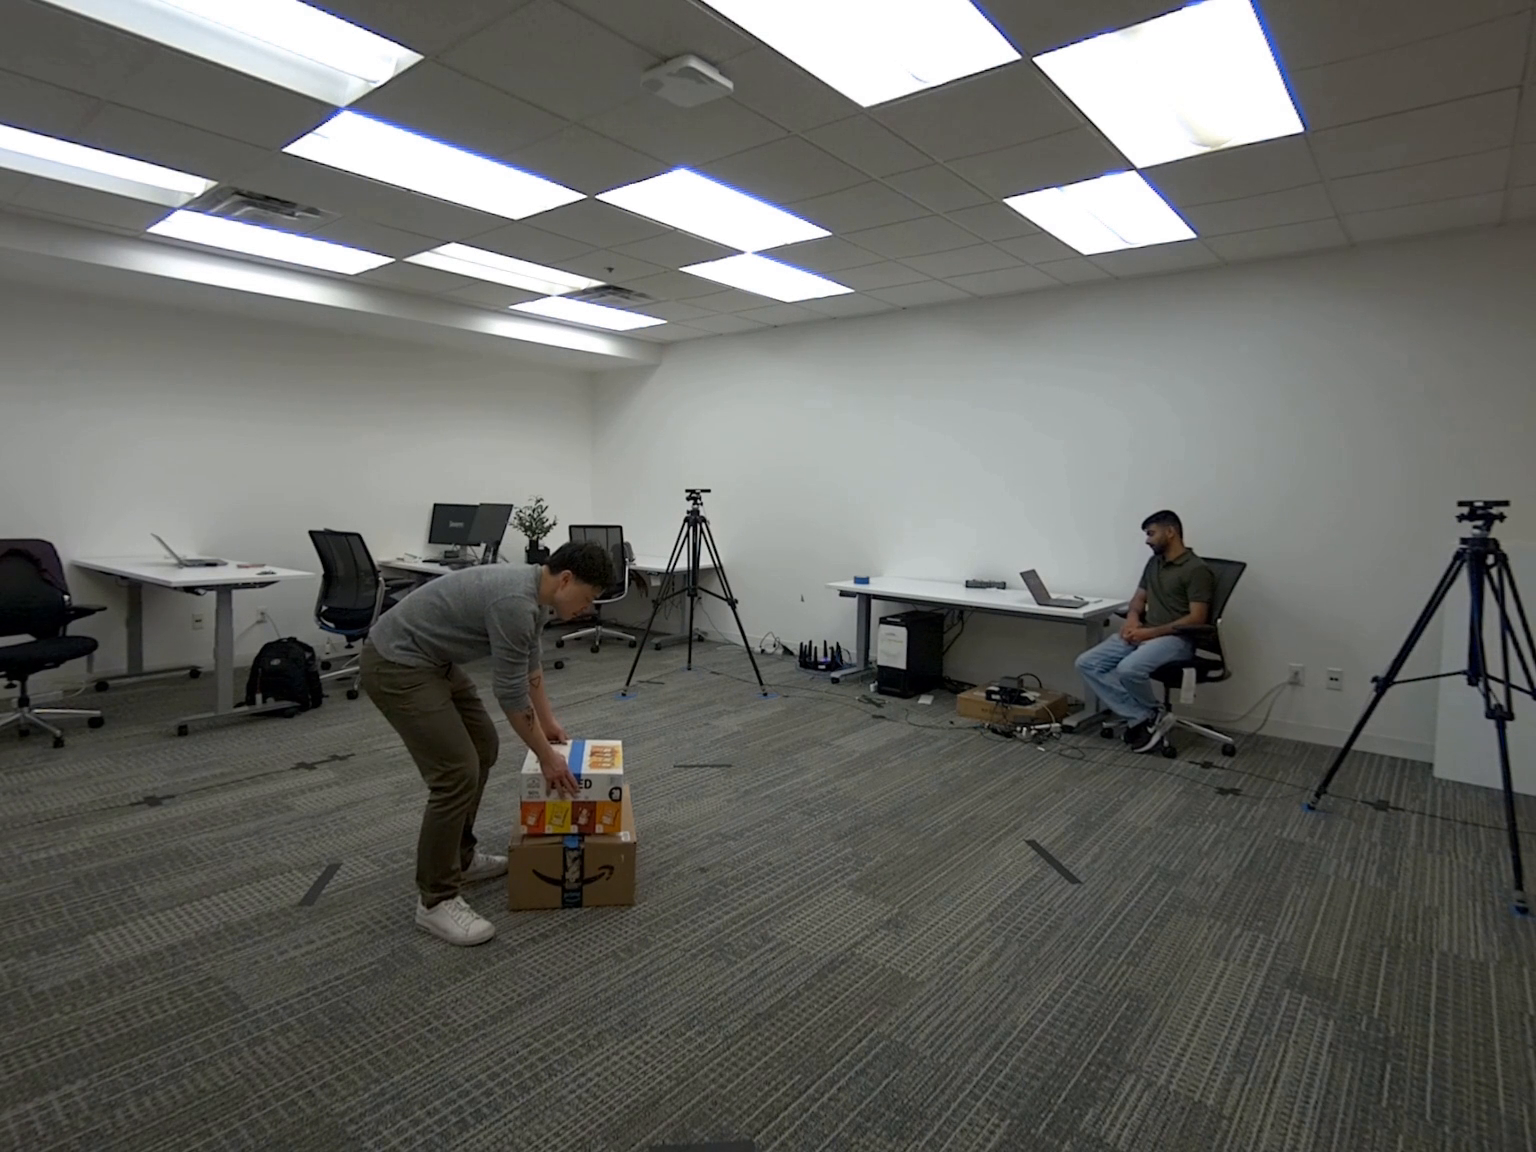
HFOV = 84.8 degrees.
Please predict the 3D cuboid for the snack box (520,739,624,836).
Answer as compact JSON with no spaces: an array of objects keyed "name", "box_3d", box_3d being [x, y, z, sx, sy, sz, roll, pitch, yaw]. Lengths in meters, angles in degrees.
[{"name":"snack box","box_3d":[-0.707,0.742,3.032,0.337,0.205,0.410,1,4,-9]}]
